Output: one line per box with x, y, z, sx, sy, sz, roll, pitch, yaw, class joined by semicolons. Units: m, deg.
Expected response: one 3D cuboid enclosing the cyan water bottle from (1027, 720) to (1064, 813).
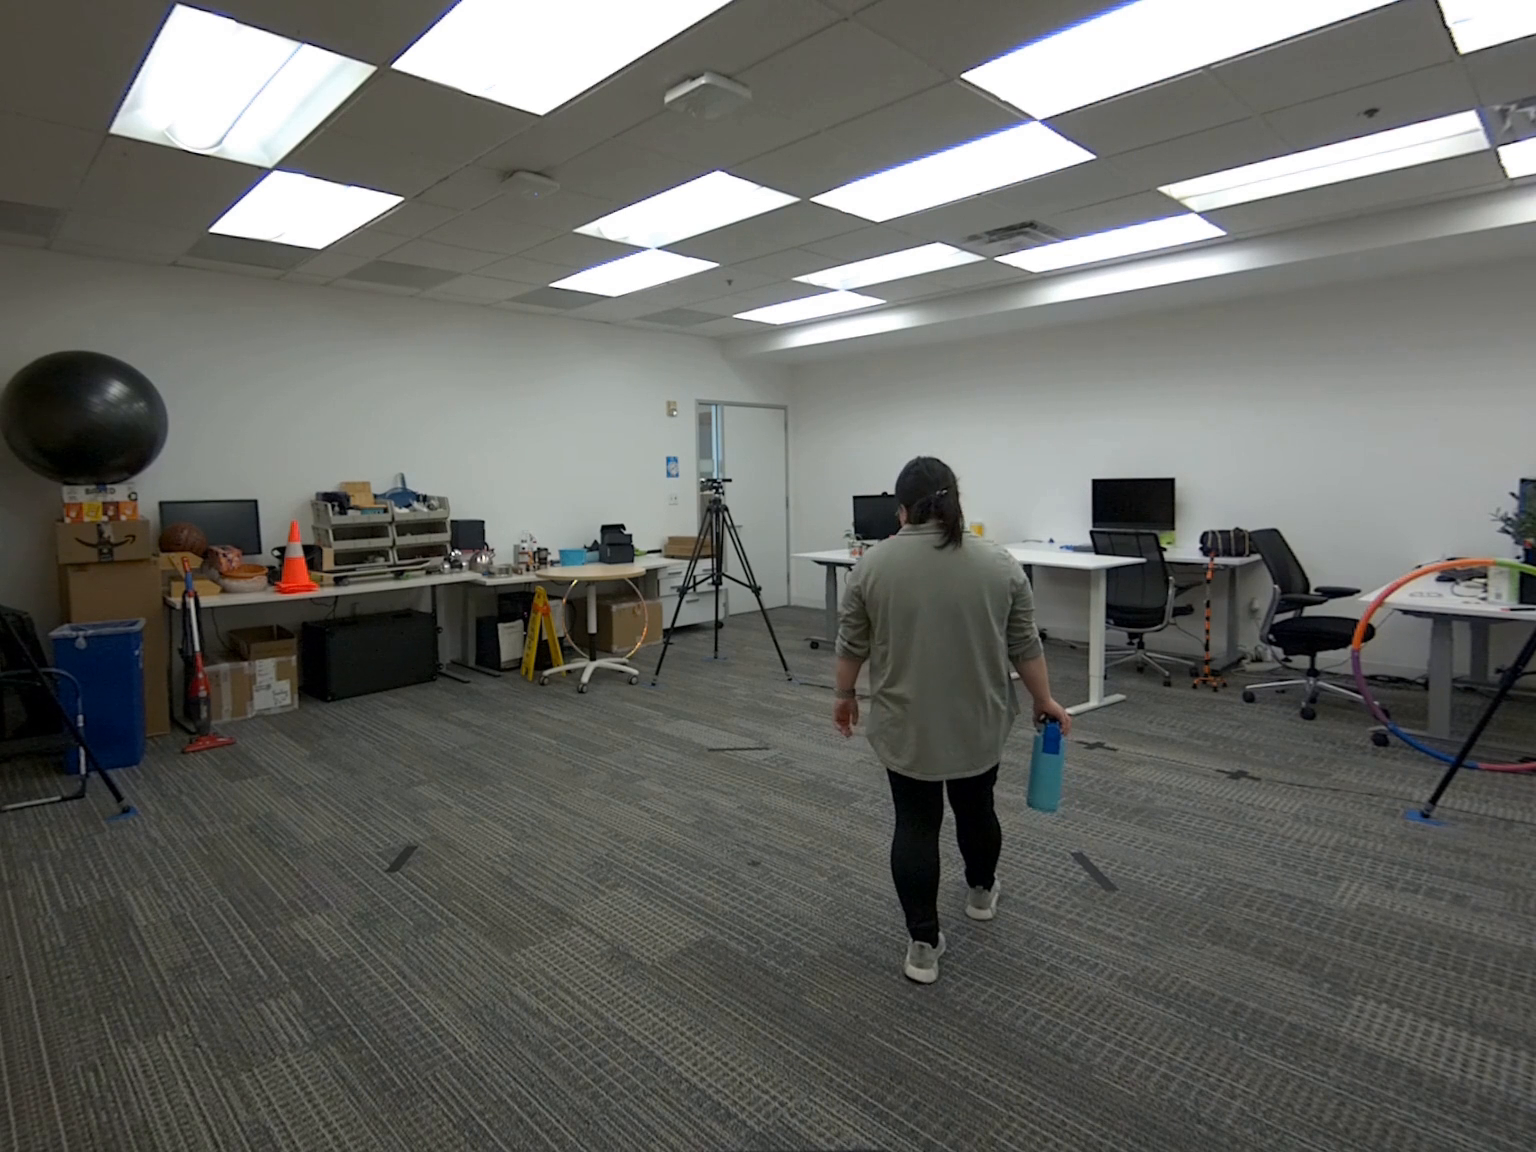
0.838;0.554;2.555;0.092;0.283;0.092;3;2;-2;cyan water bottle
